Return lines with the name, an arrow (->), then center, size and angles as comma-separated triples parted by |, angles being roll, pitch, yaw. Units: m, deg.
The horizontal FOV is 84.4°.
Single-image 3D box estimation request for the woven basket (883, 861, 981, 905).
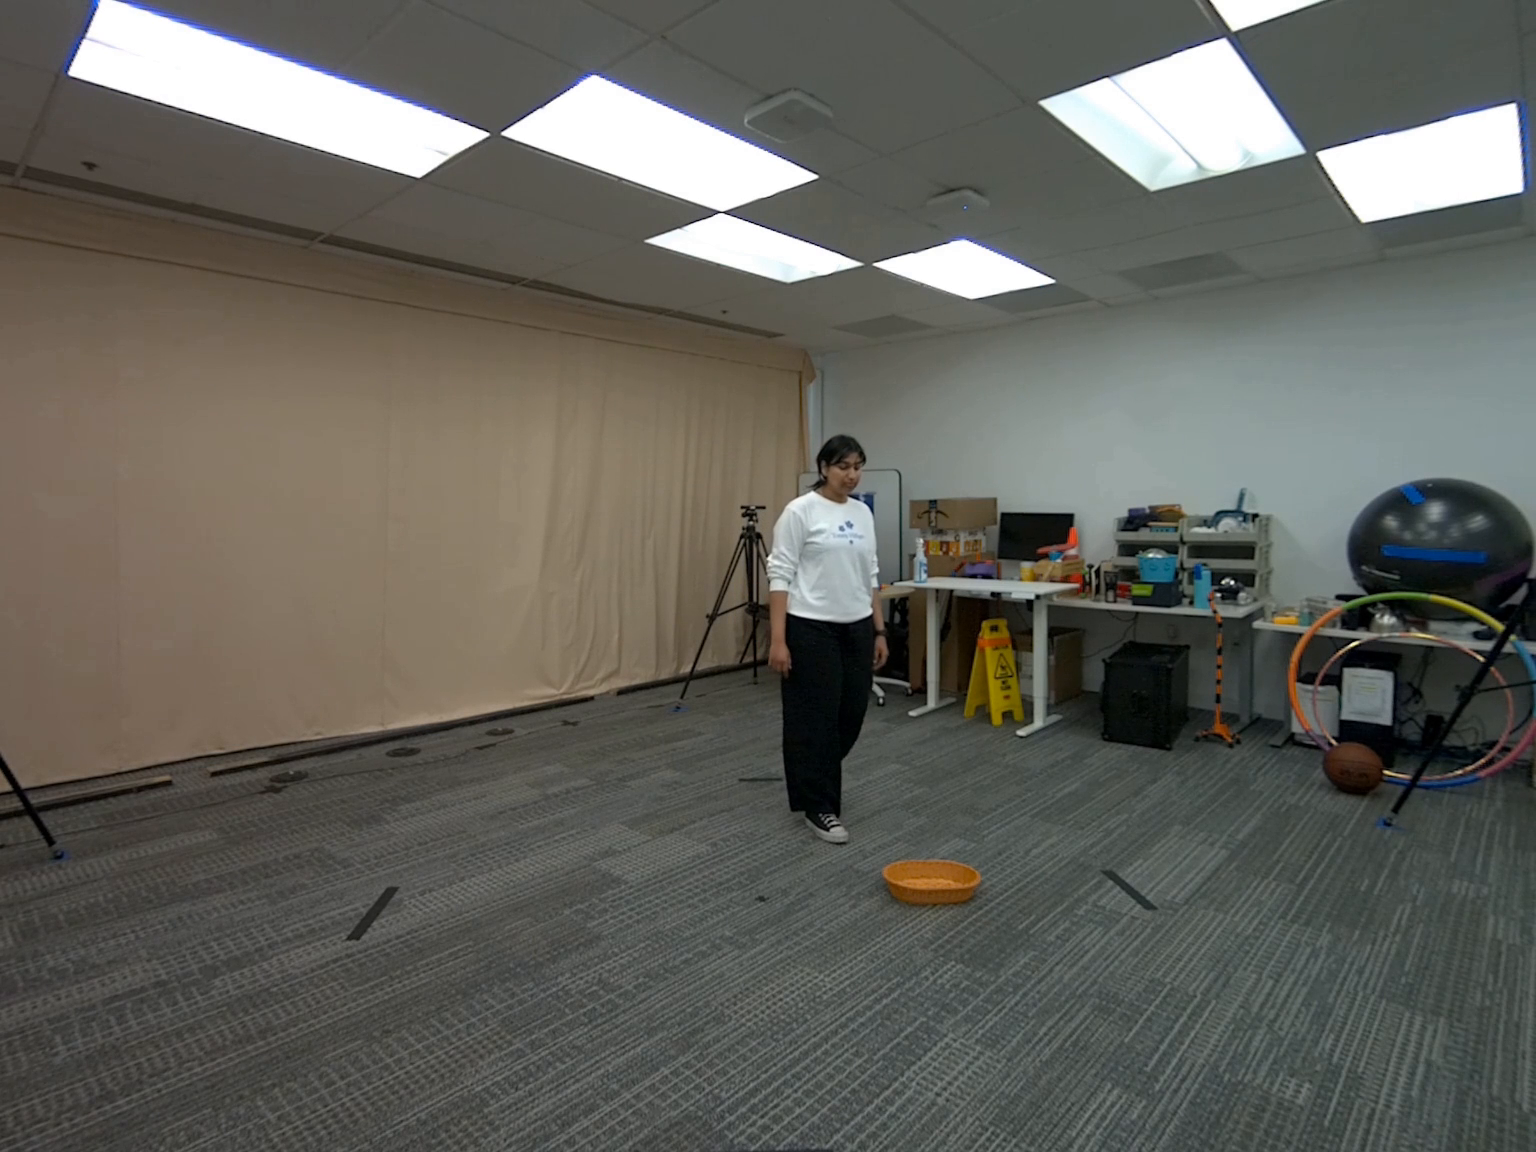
woven basket -> 0.591, 1.099, 3.019 | 0.351, 0.073, 0.252 | -1, 3, 0
